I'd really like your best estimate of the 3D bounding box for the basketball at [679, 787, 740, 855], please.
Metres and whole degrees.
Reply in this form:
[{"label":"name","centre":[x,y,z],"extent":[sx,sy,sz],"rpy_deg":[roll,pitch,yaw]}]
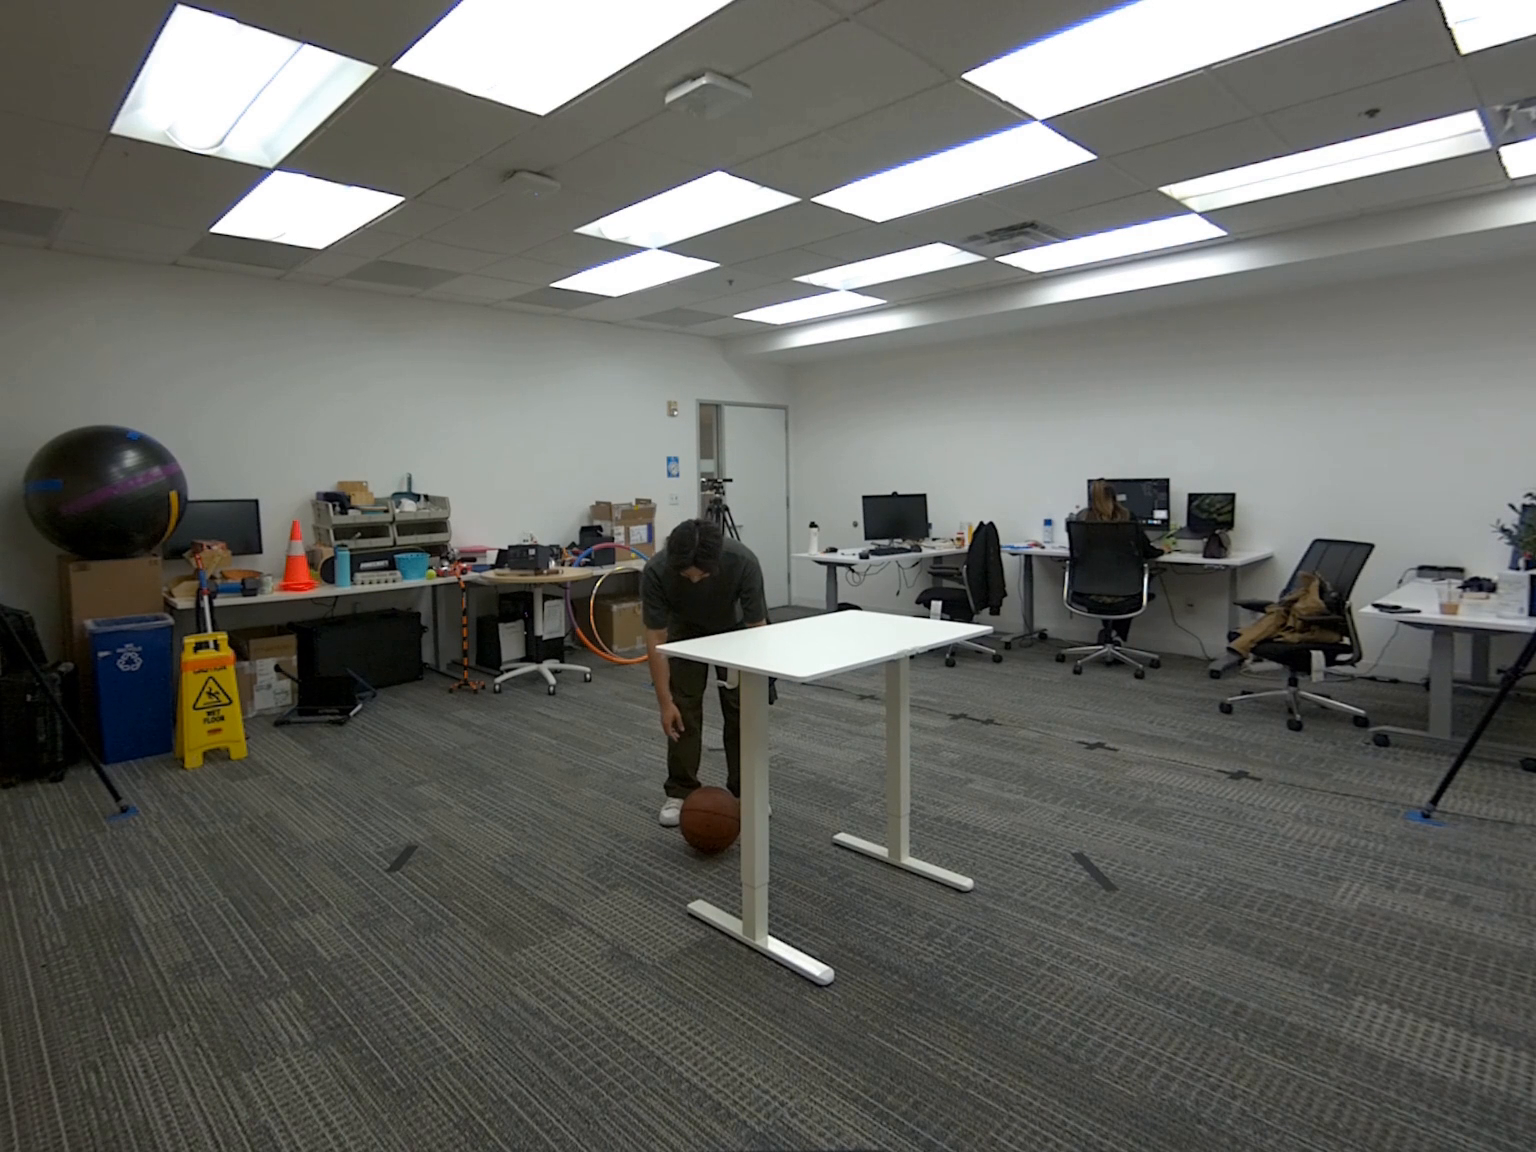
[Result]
[{"label":"basketball","centre":[-0.216,0.915,3.216],"extent":[0.236,0.235,0.237],"rpy_deg":[-1,5,-2]}]
